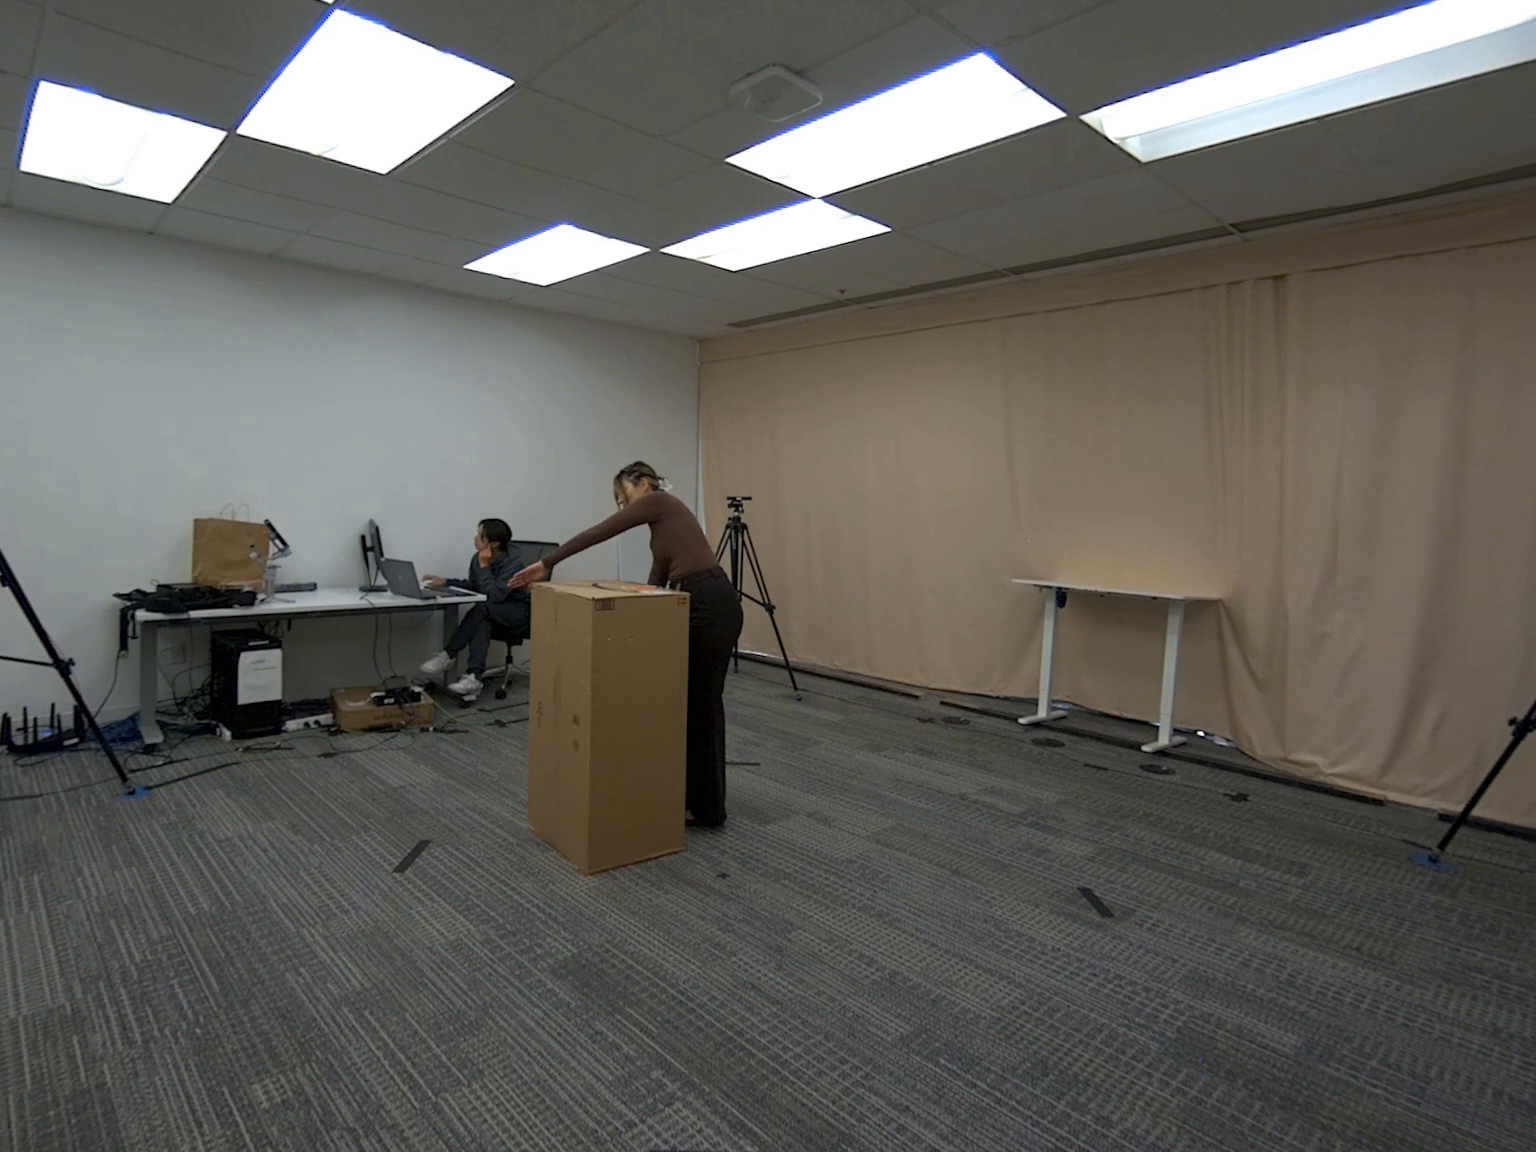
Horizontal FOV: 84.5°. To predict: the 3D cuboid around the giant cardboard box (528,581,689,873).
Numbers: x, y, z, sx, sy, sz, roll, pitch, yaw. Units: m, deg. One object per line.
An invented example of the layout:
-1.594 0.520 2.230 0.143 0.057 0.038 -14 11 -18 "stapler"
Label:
-0.662 0.557 3.403 0.437 1.025 0.598 0 4 -36 "giant cardboard box"
